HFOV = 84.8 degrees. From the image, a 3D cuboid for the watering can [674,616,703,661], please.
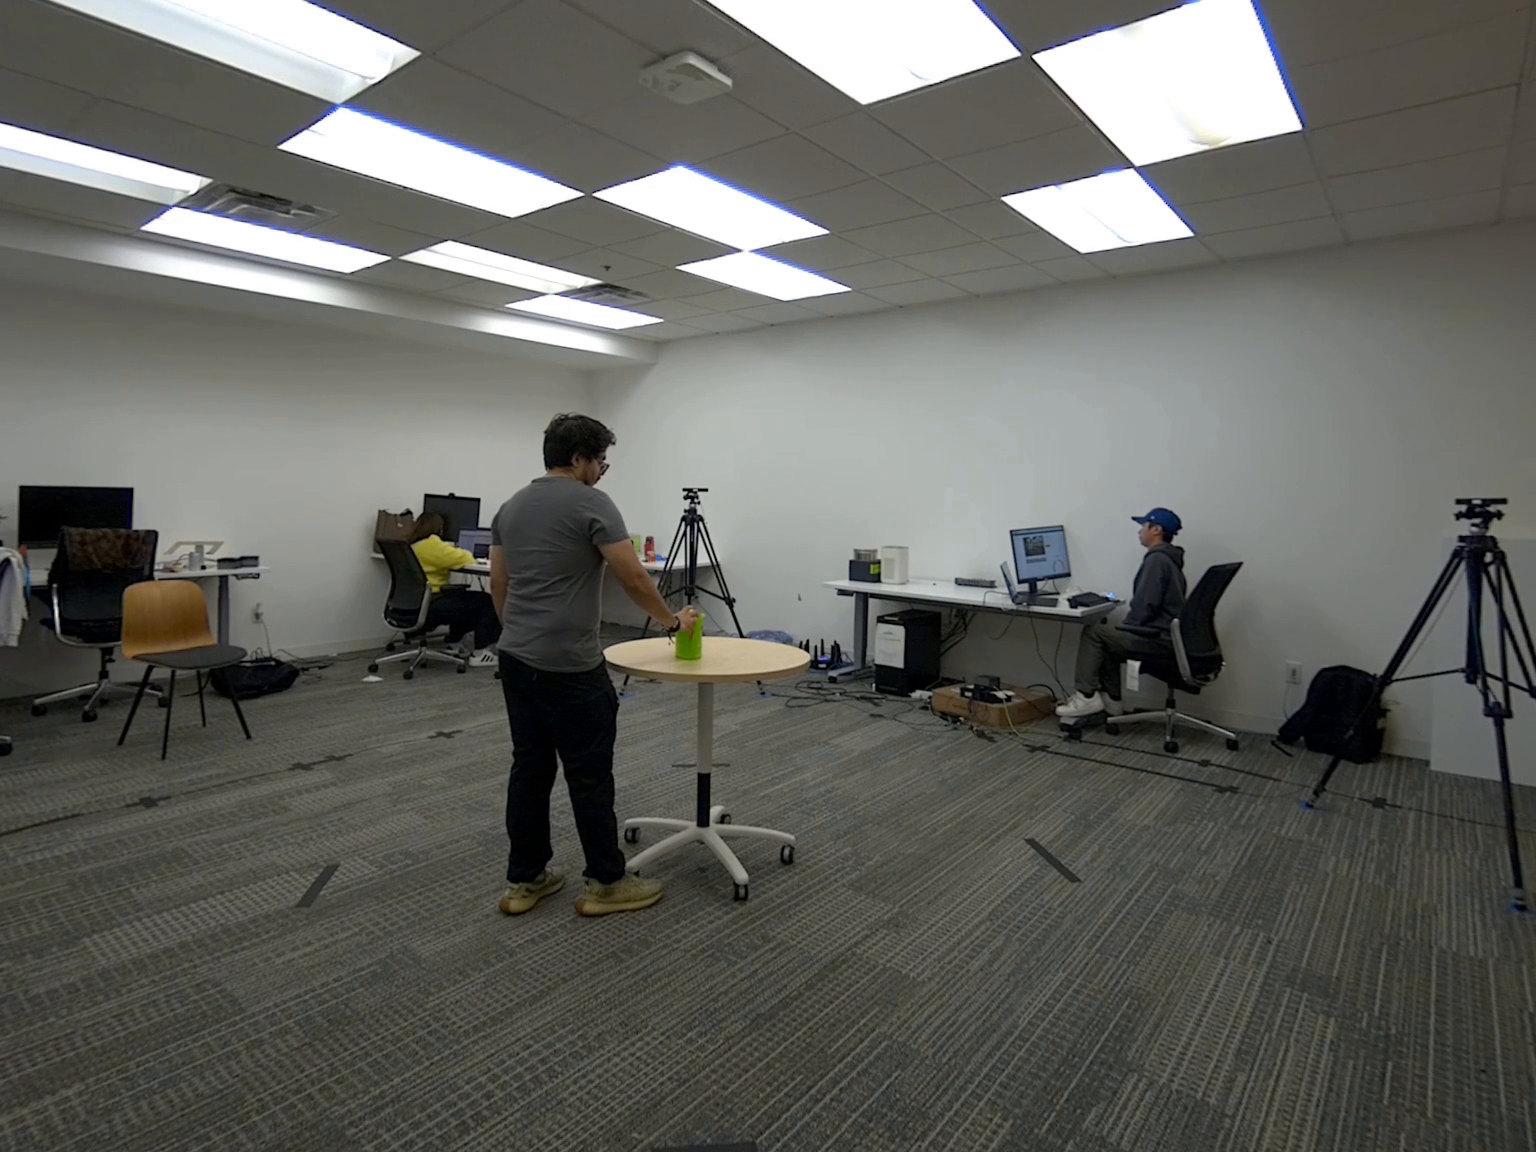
[{"bbox_3d":[-0.290,0.212,3.016,0.097,0.176,0.281,-1,3,-9],"label":"watering can"}]
